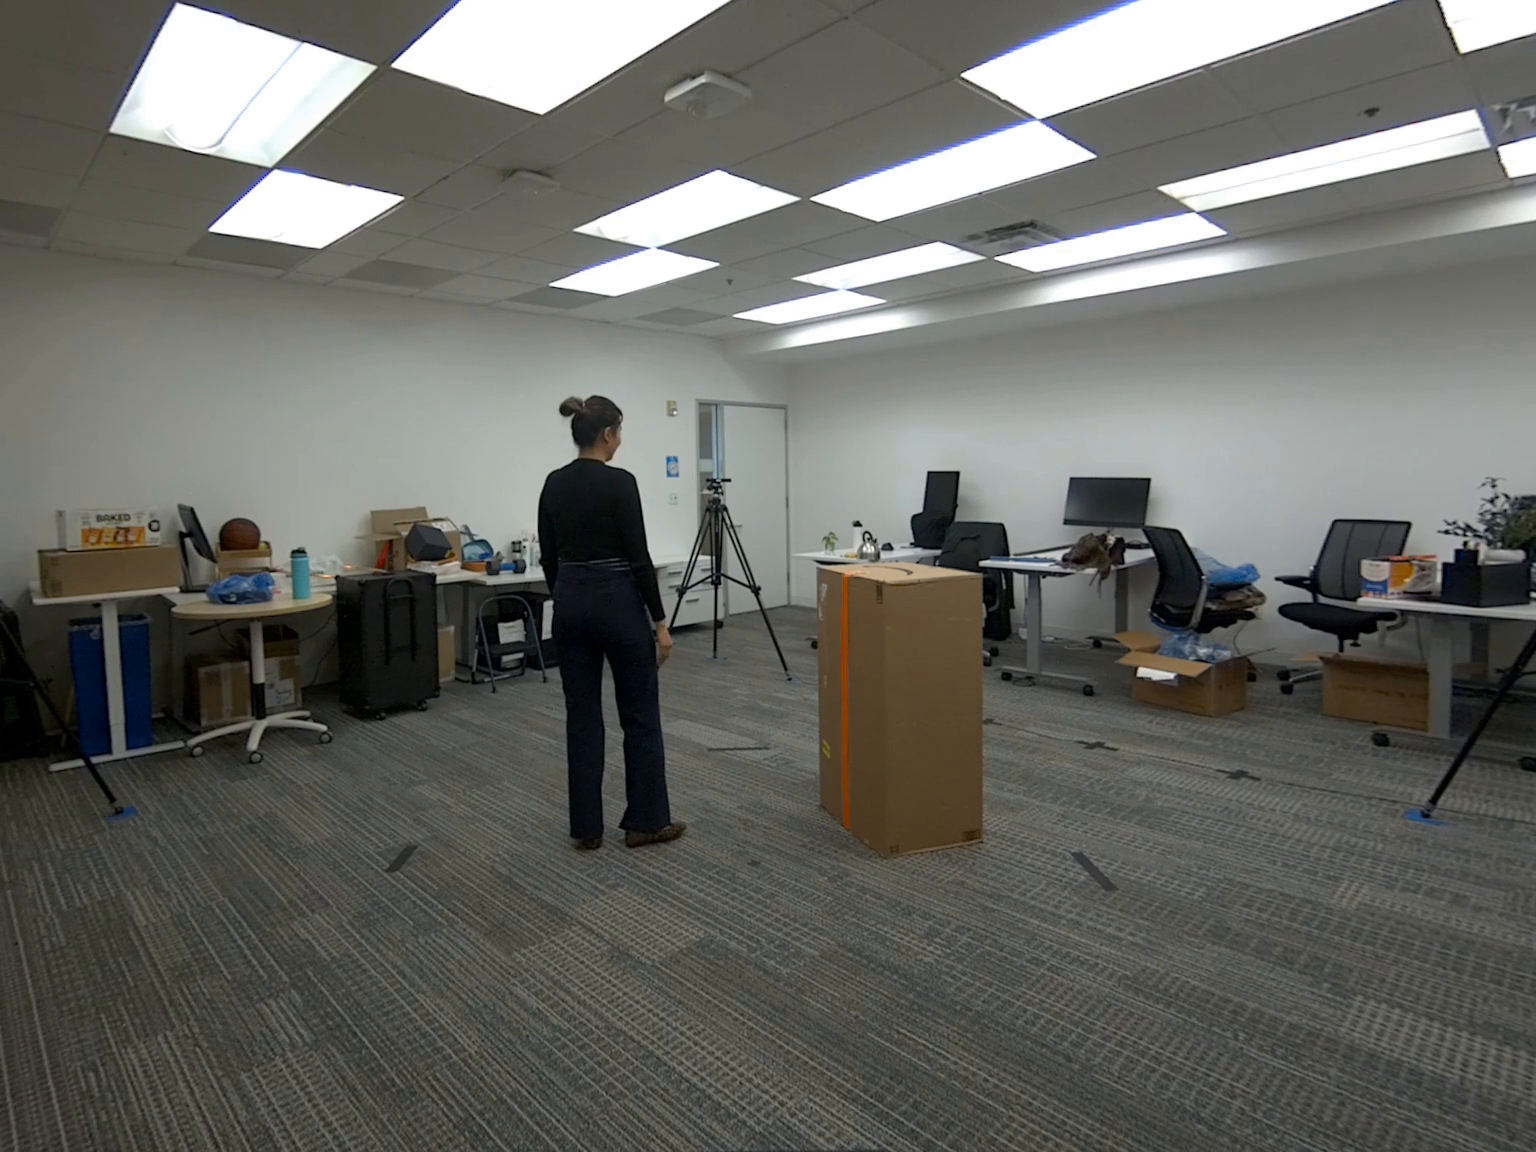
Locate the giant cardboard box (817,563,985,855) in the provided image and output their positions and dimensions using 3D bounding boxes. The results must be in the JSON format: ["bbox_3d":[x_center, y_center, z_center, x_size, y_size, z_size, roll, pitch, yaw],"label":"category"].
[{"bbox_3d":[0.507,0.488,3.417,0.419,1.022,0.590,-2,5,-20],"label":"giant cardboard box"}]
